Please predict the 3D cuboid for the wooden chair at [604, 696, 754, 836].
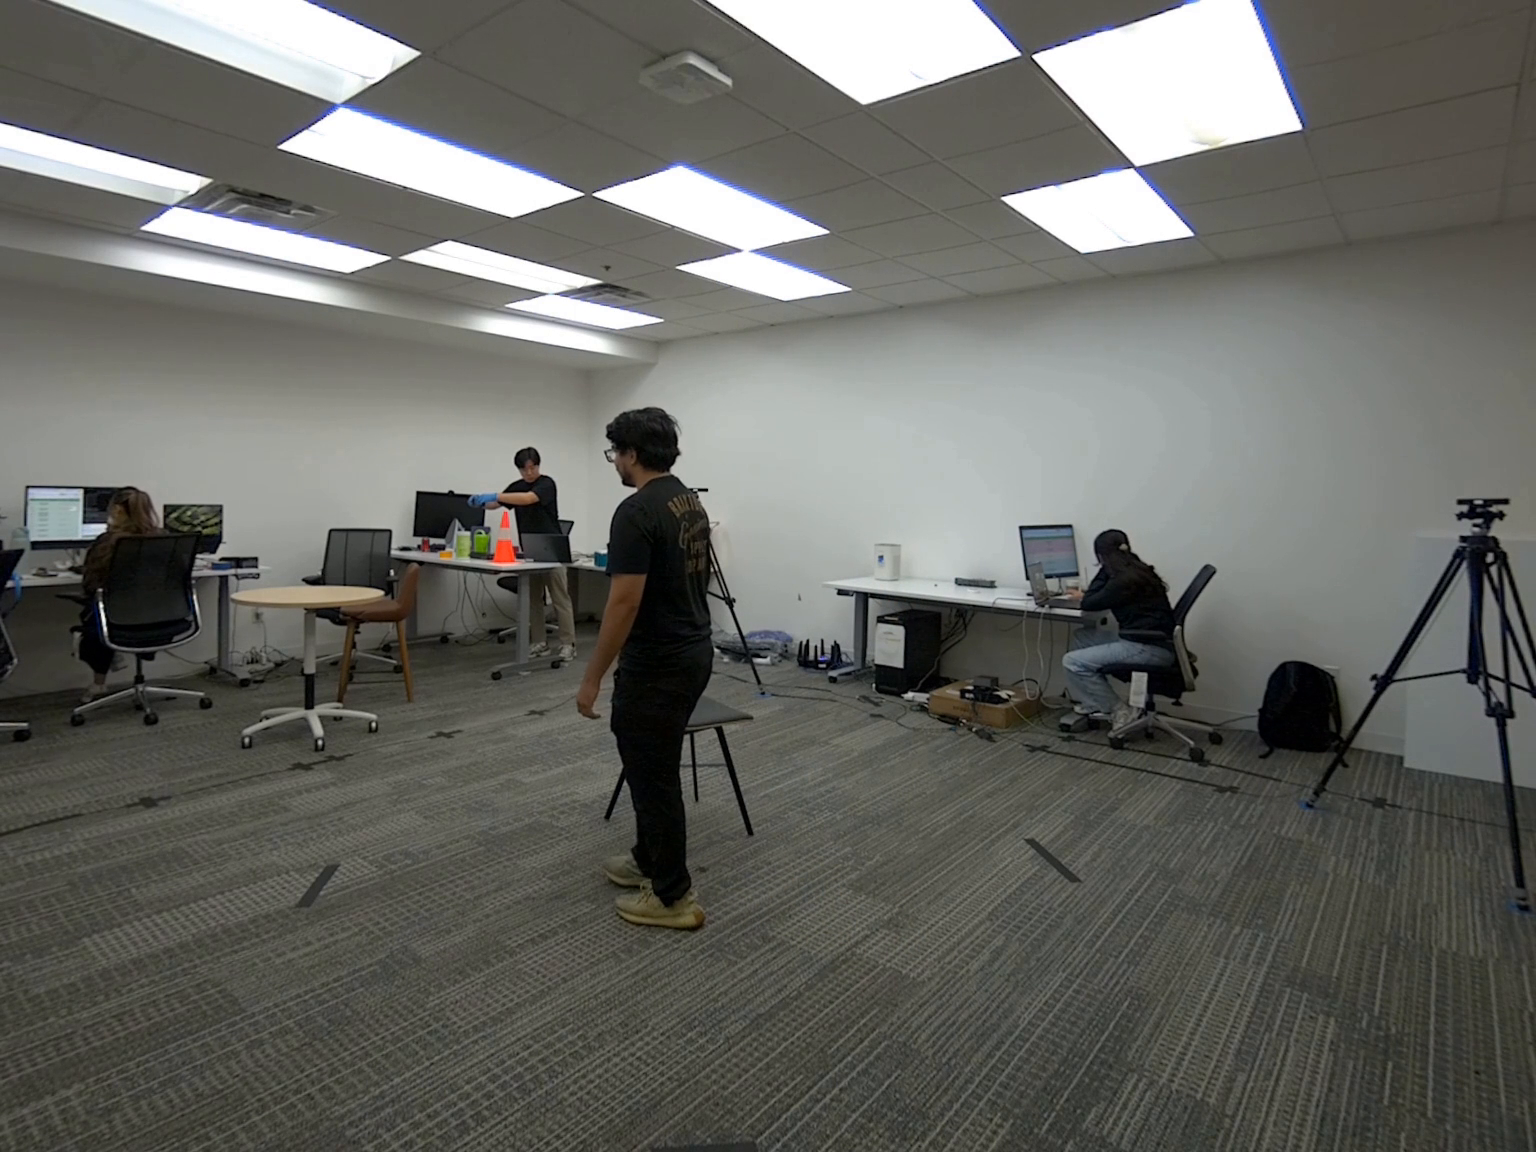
[{"bbox_3d":[-0.369,0.602,3.473,0.509,0.873,0.493,-6,6,-33],"label":"wooden chair"}]
